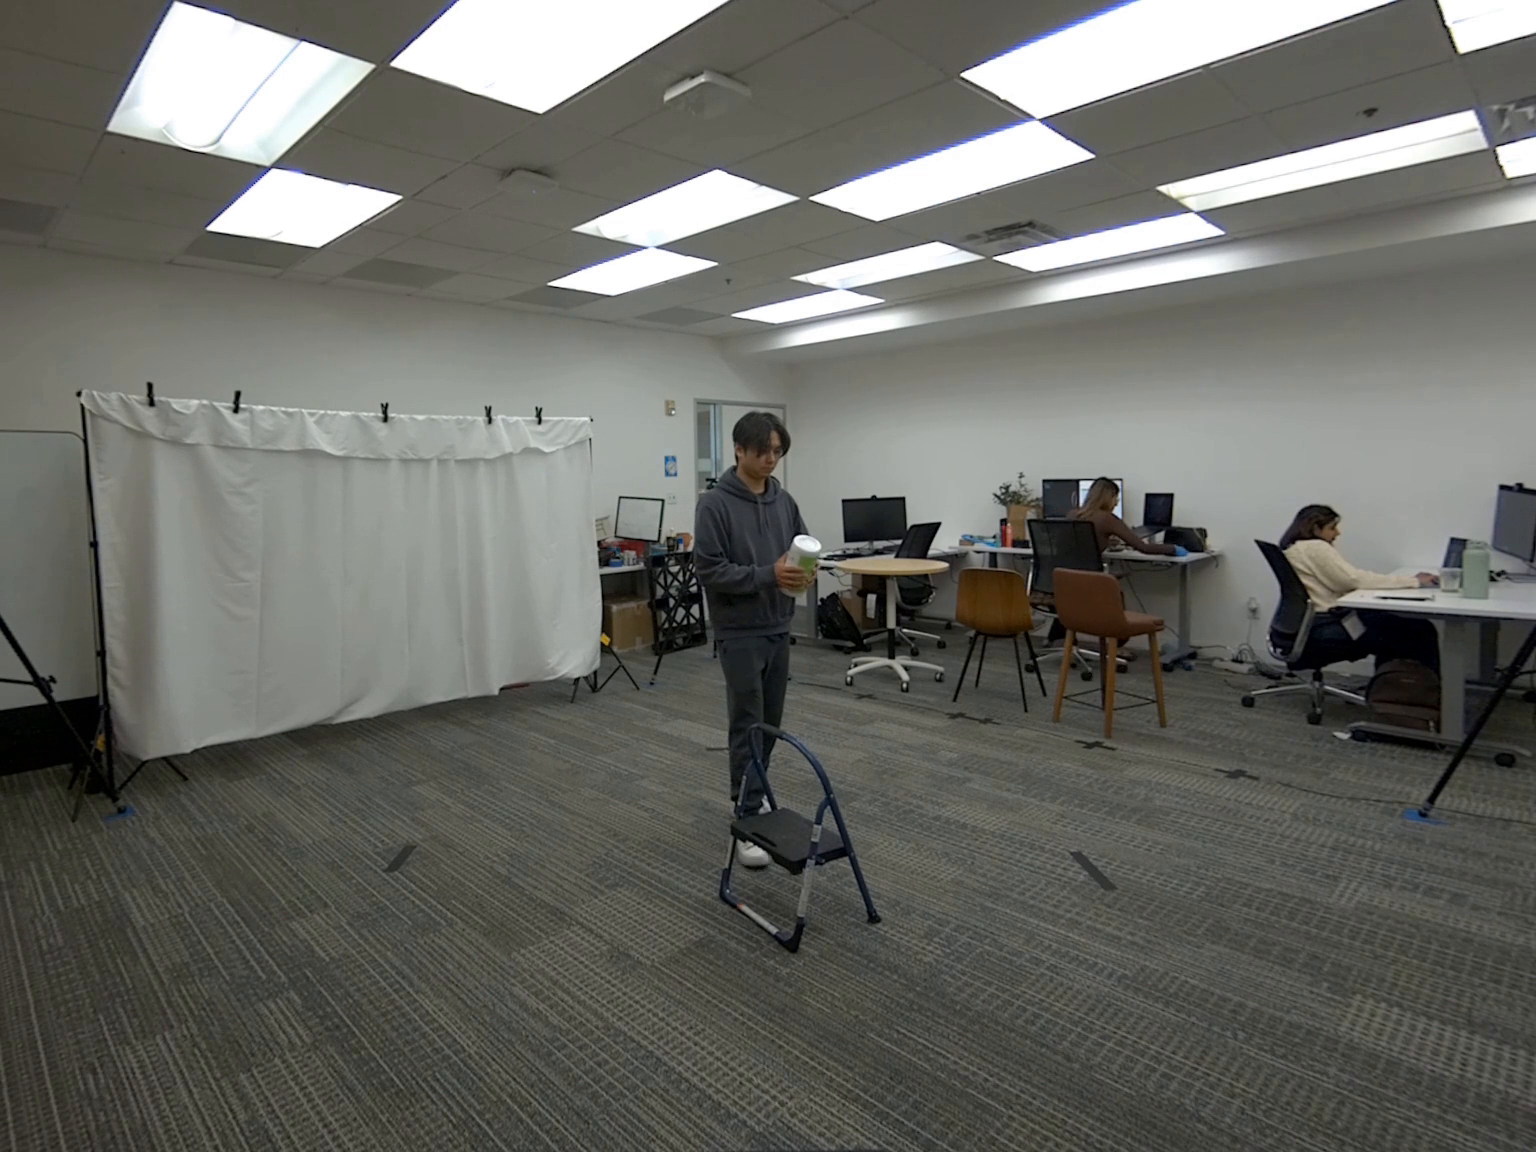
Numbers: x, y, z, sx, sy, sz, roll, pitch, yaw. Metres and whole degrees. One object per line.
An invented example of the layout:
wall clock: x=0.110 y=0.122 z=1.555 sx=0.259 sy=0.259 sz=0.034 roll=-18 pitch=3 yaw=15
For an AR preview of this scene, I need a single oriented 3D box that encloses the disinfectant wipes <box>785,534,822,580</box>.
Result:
disinfectant wipes: x=0.125 y=-0.034 z=3.177 sx=0.117 sy=0.214 sz=0.121 roll=11 pitch=34 yaw=-9
